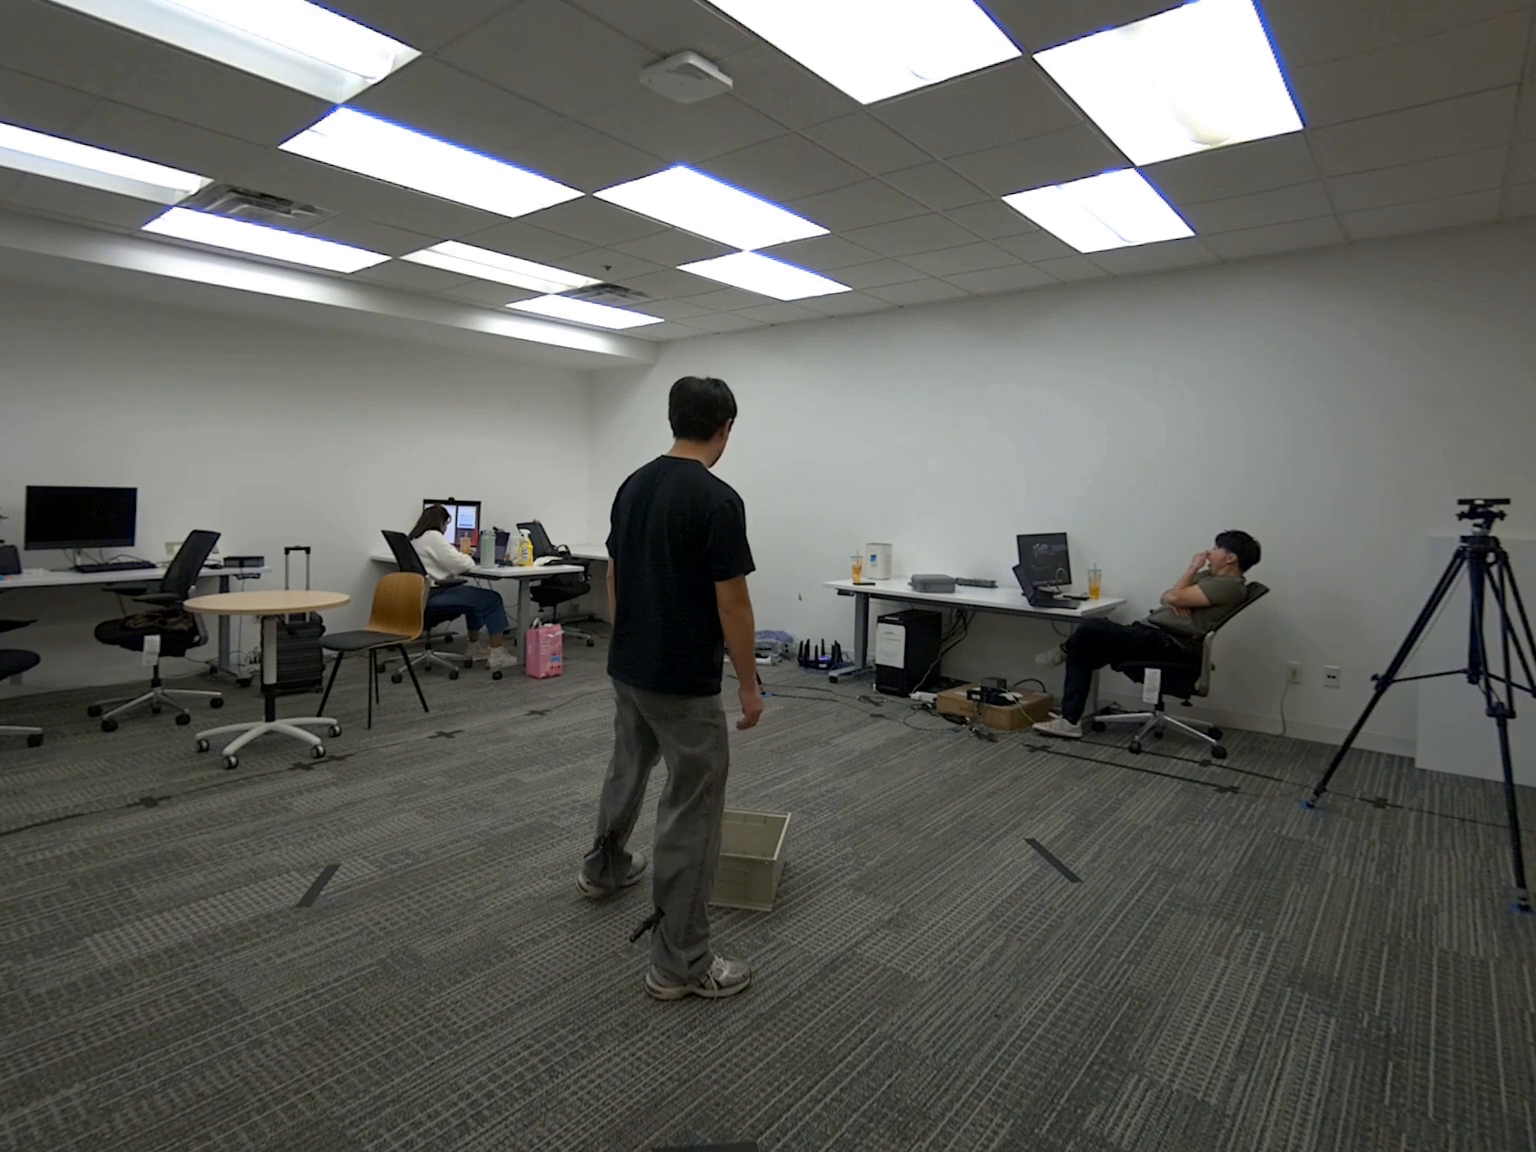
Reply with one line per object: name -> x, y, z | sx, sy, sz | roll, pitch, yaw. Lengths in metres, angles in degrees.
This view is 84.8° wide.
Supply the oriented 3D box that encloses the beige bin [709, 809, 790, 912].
beige bin -> -0.137, 0.991, 3.027 | 0.382, 0.188, 0.419 | 3, 5, 9
